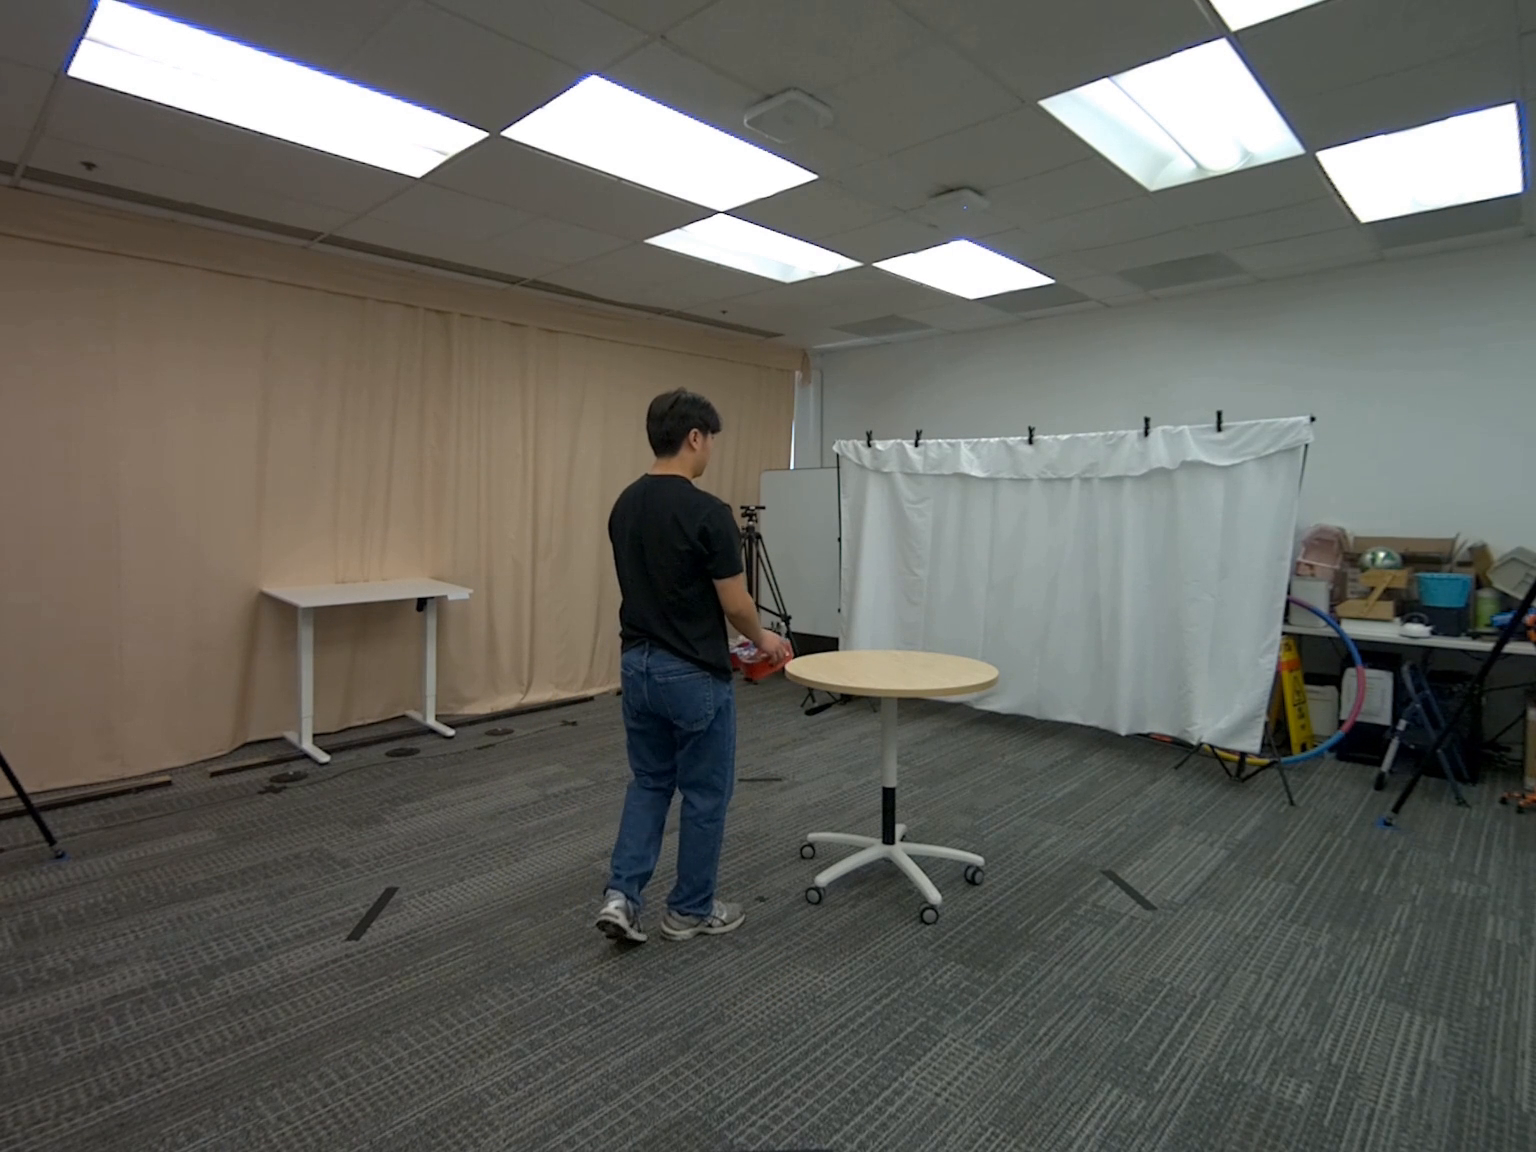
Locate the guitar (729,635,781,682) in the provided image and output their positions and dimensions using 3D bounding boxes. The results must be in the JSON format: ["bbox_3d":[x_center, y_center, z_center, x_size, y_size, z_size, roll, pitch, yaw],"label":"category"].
[{"bbox_3d":[-0.104,0.252,3.037,0.190,0.070,0.513,-24,20,-26],"label":"guitar"}]
